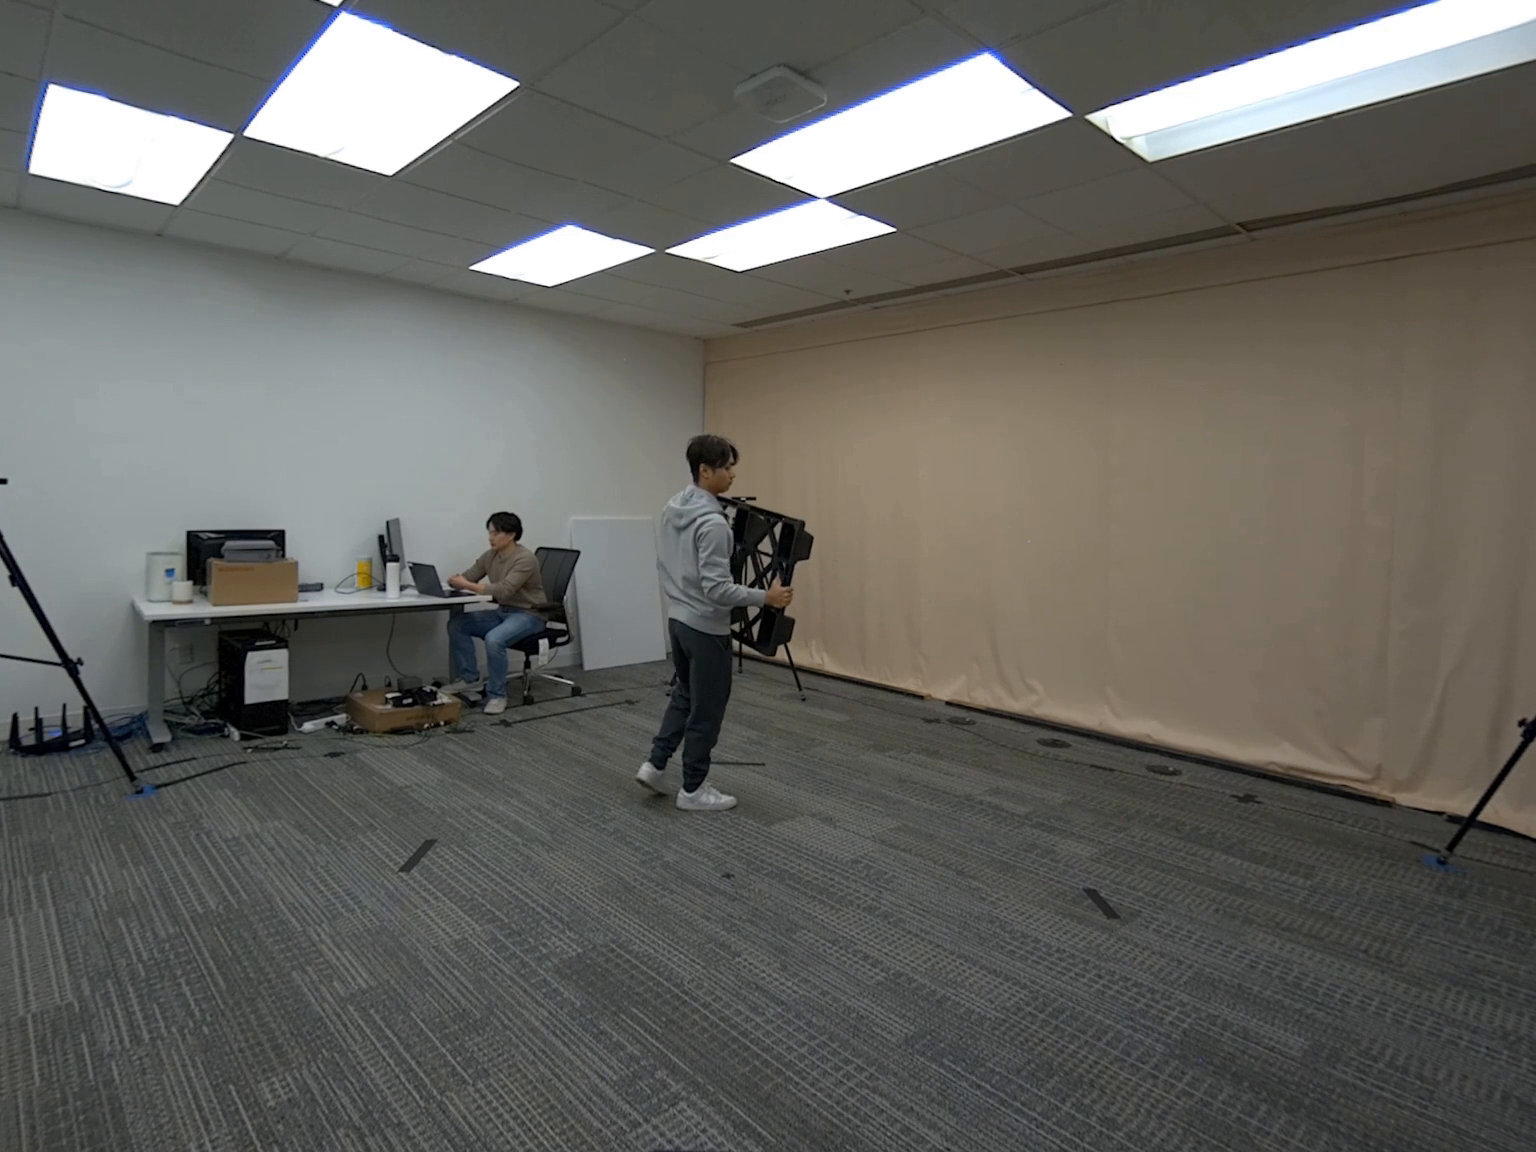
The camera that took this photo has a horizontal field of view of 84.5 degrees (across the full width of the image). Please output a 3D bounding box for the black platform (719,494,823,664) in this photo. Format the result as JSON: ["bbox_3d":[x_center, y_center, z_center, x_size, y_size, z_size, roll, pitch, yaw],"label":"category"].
[{"bbox_3d":[-0.132,-0.027,3.875,0.140,0.602,0.829,7,9,-37],"label":"black platform"}]
